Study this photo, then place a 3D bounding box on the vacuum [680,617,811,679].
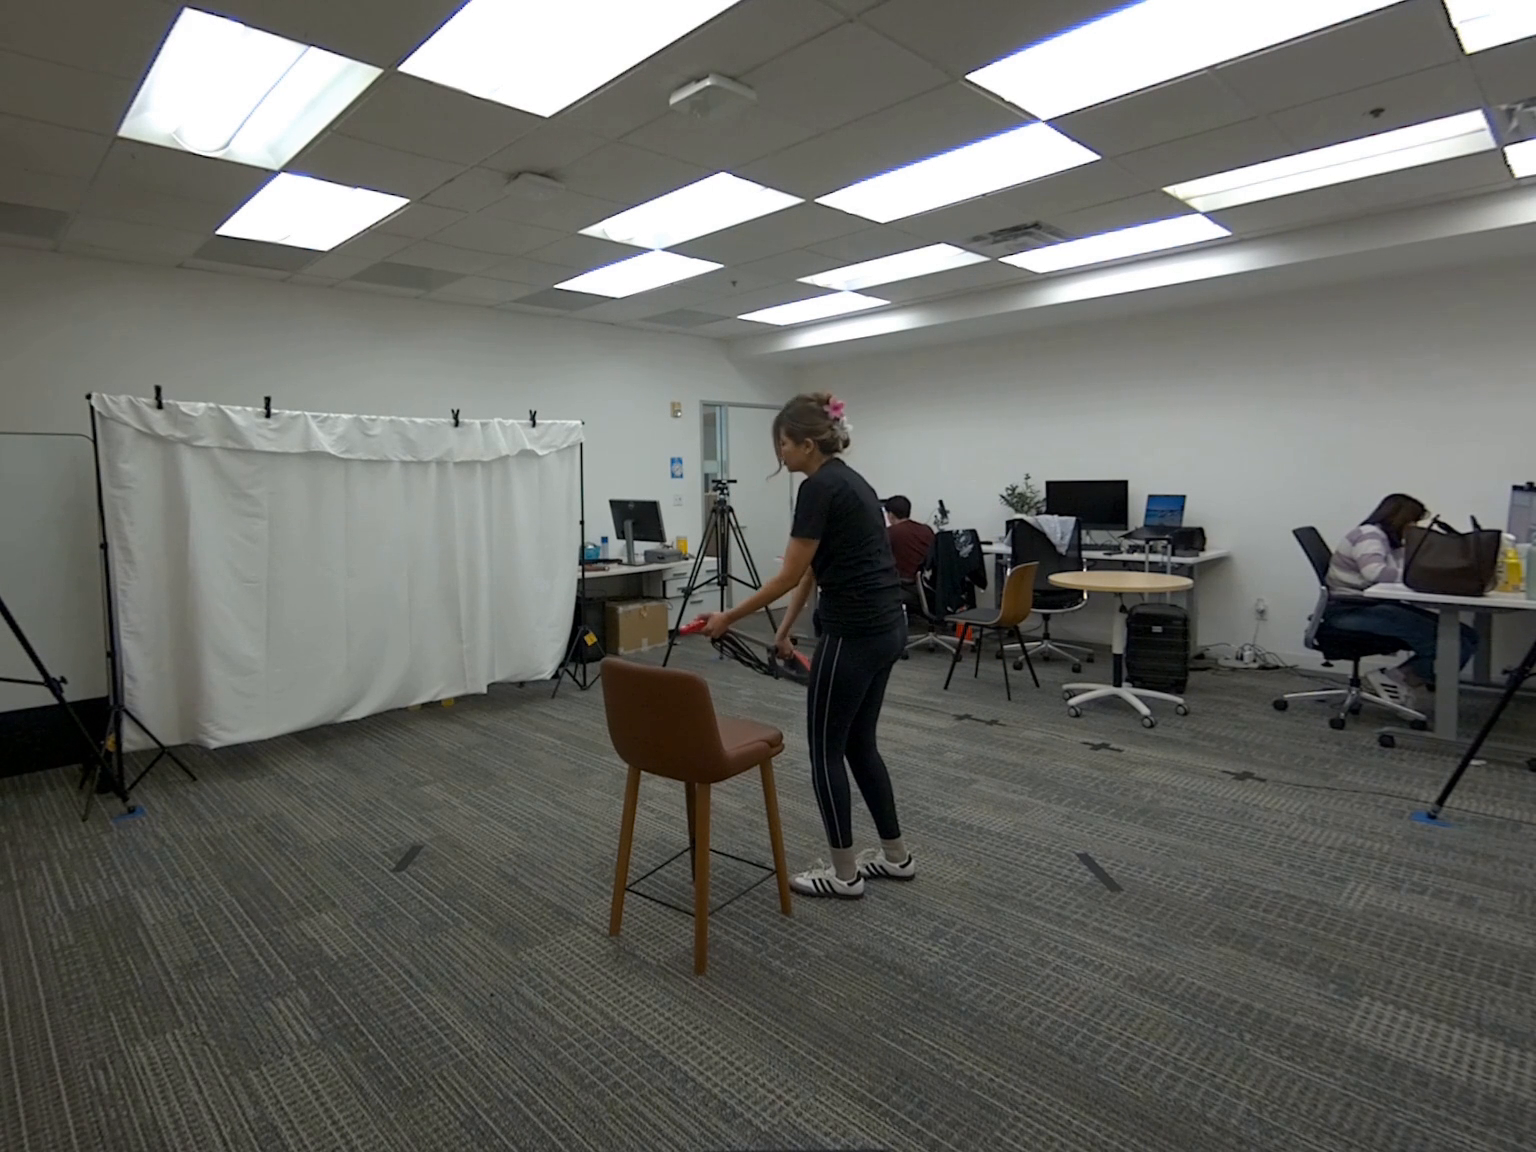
[{"bbox_3d":[-0.002,0.317,3.125,0.260,0.145,1.011,7,-11,38],"label":"vacuum"}]
